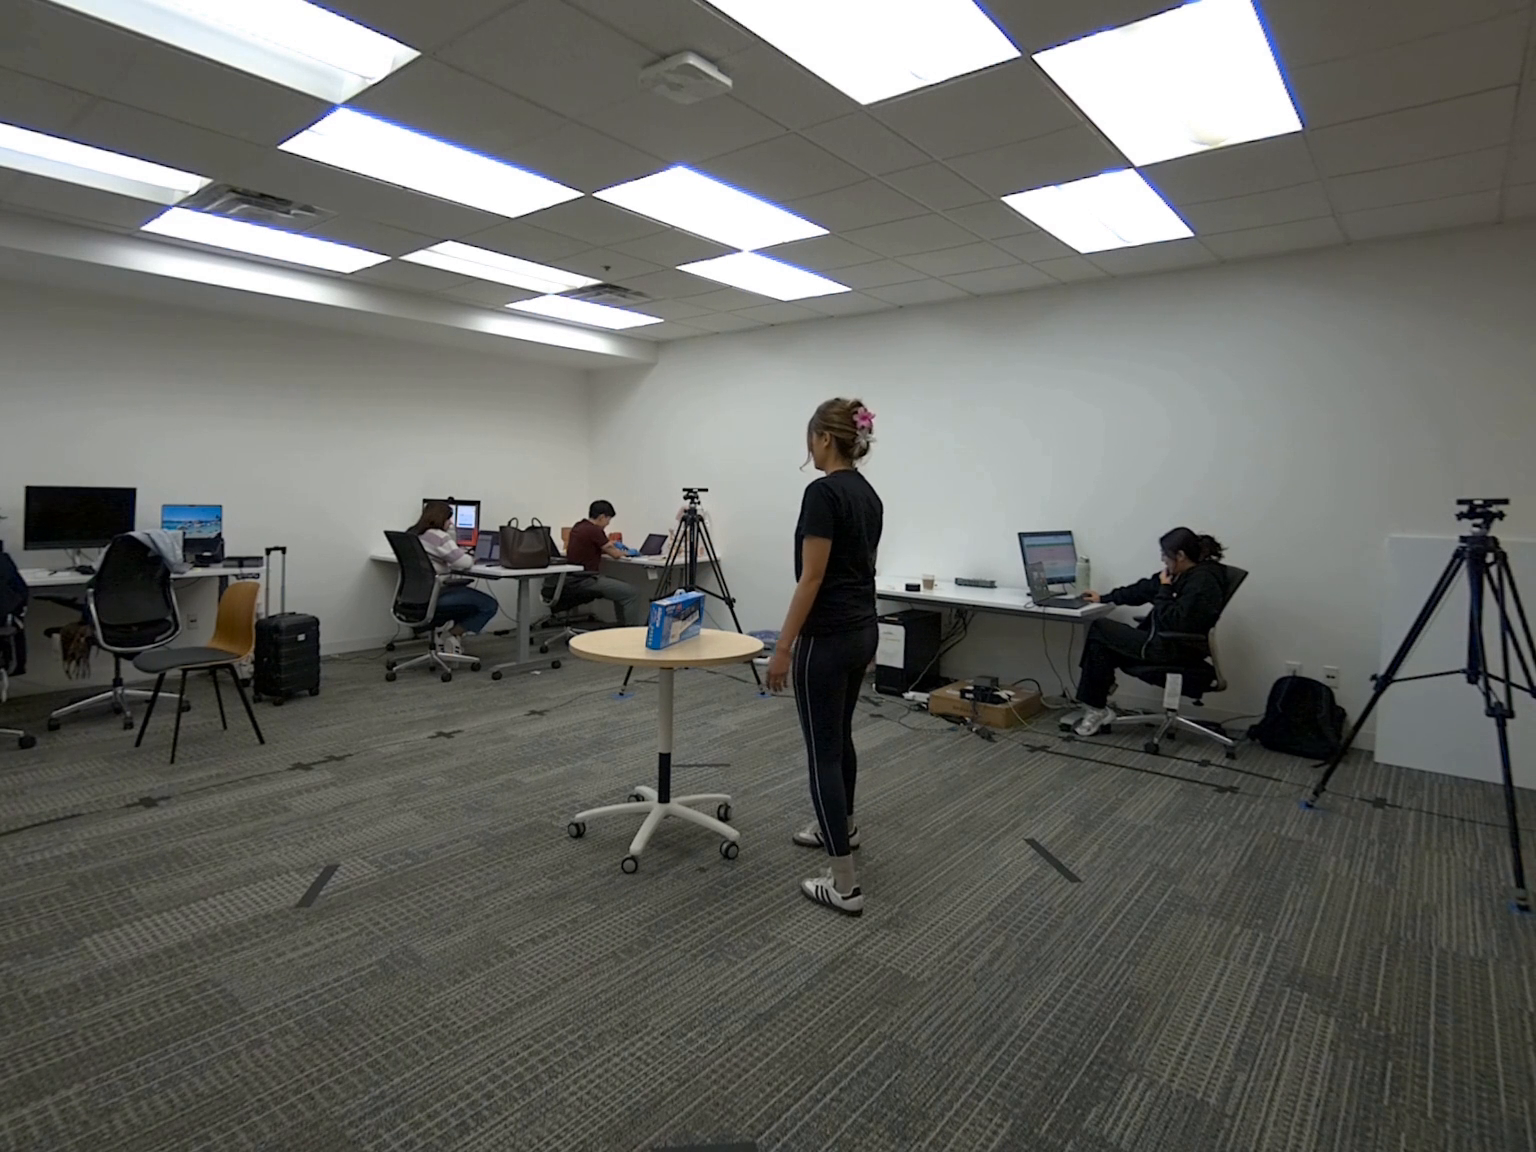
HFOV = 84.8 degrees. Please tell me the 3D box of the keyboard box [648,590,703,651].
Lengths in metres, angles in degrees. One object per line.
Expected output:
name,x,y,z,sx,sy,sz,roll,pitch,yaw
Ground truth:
keyboard box,-0.367,0.169,3.373,0.060,0.175,0.431,8,6,12
